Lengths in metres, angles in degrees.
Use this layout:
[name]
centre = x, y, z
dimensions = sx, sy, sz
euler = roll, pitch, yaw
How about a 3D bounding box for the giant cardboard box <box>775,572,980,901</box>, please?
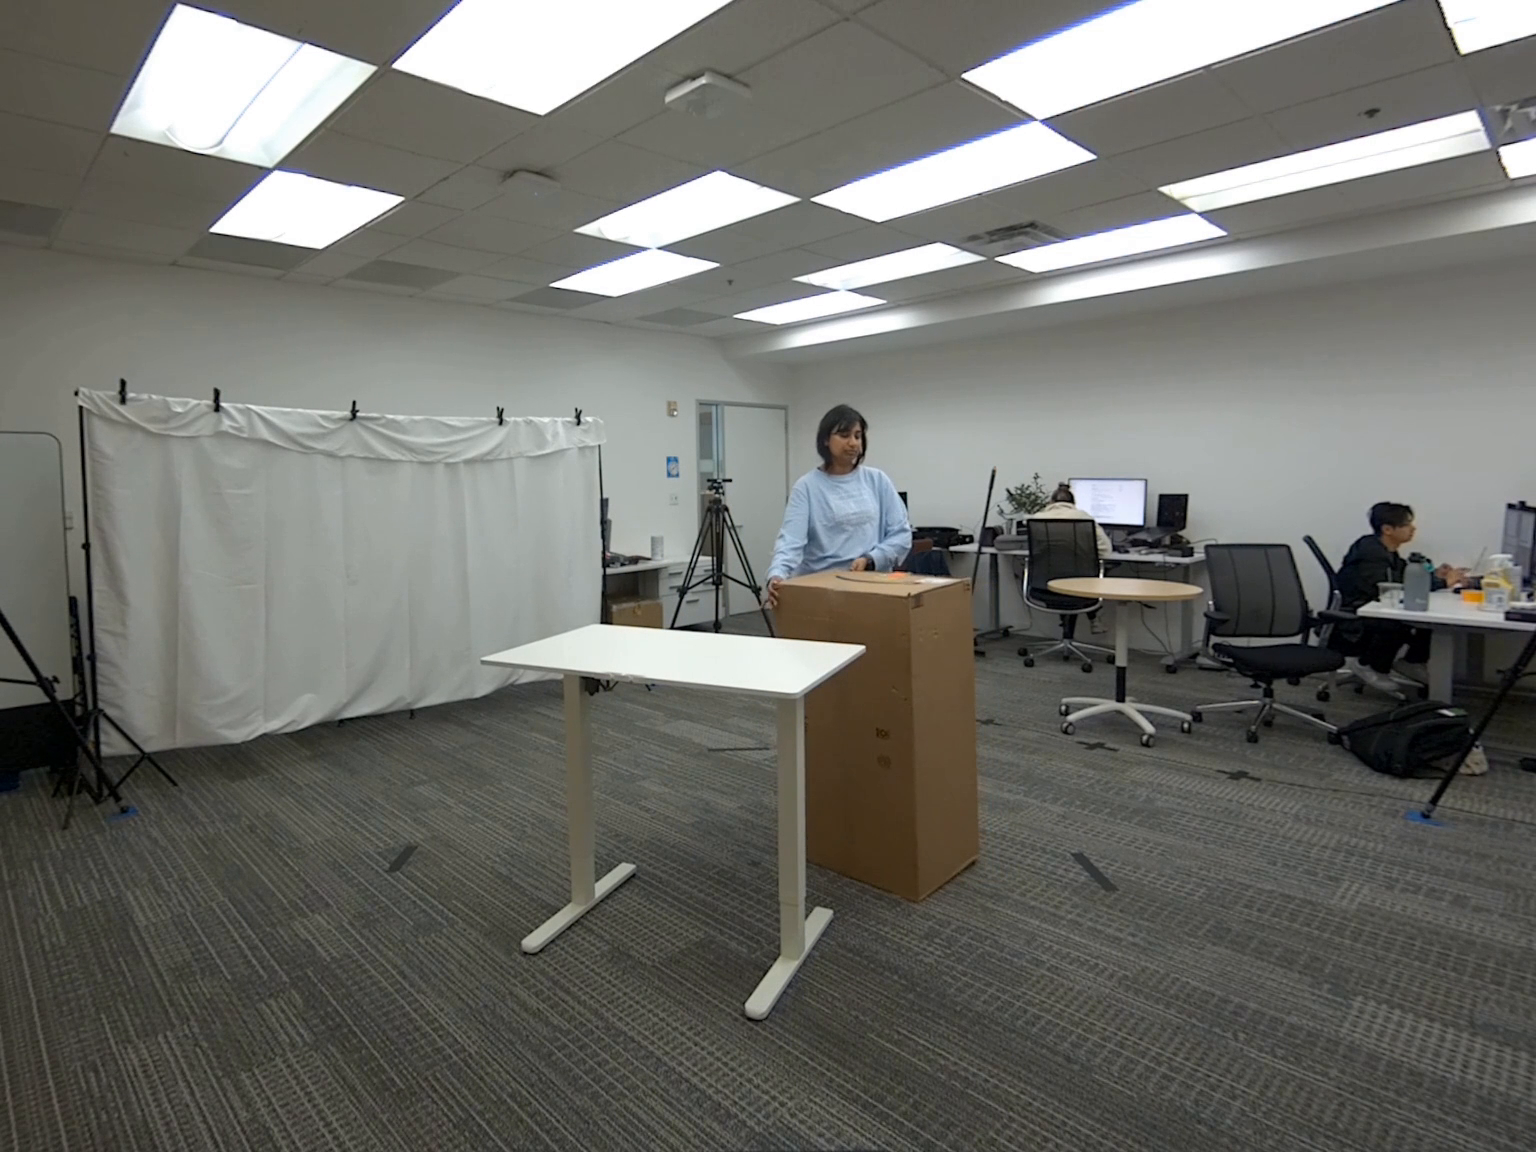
[giant cardboard box]
centre = 0.392, 0.529, 3.099
dimensions = 0.595, 1.021, 0.415
euler = 2, 7, 42
